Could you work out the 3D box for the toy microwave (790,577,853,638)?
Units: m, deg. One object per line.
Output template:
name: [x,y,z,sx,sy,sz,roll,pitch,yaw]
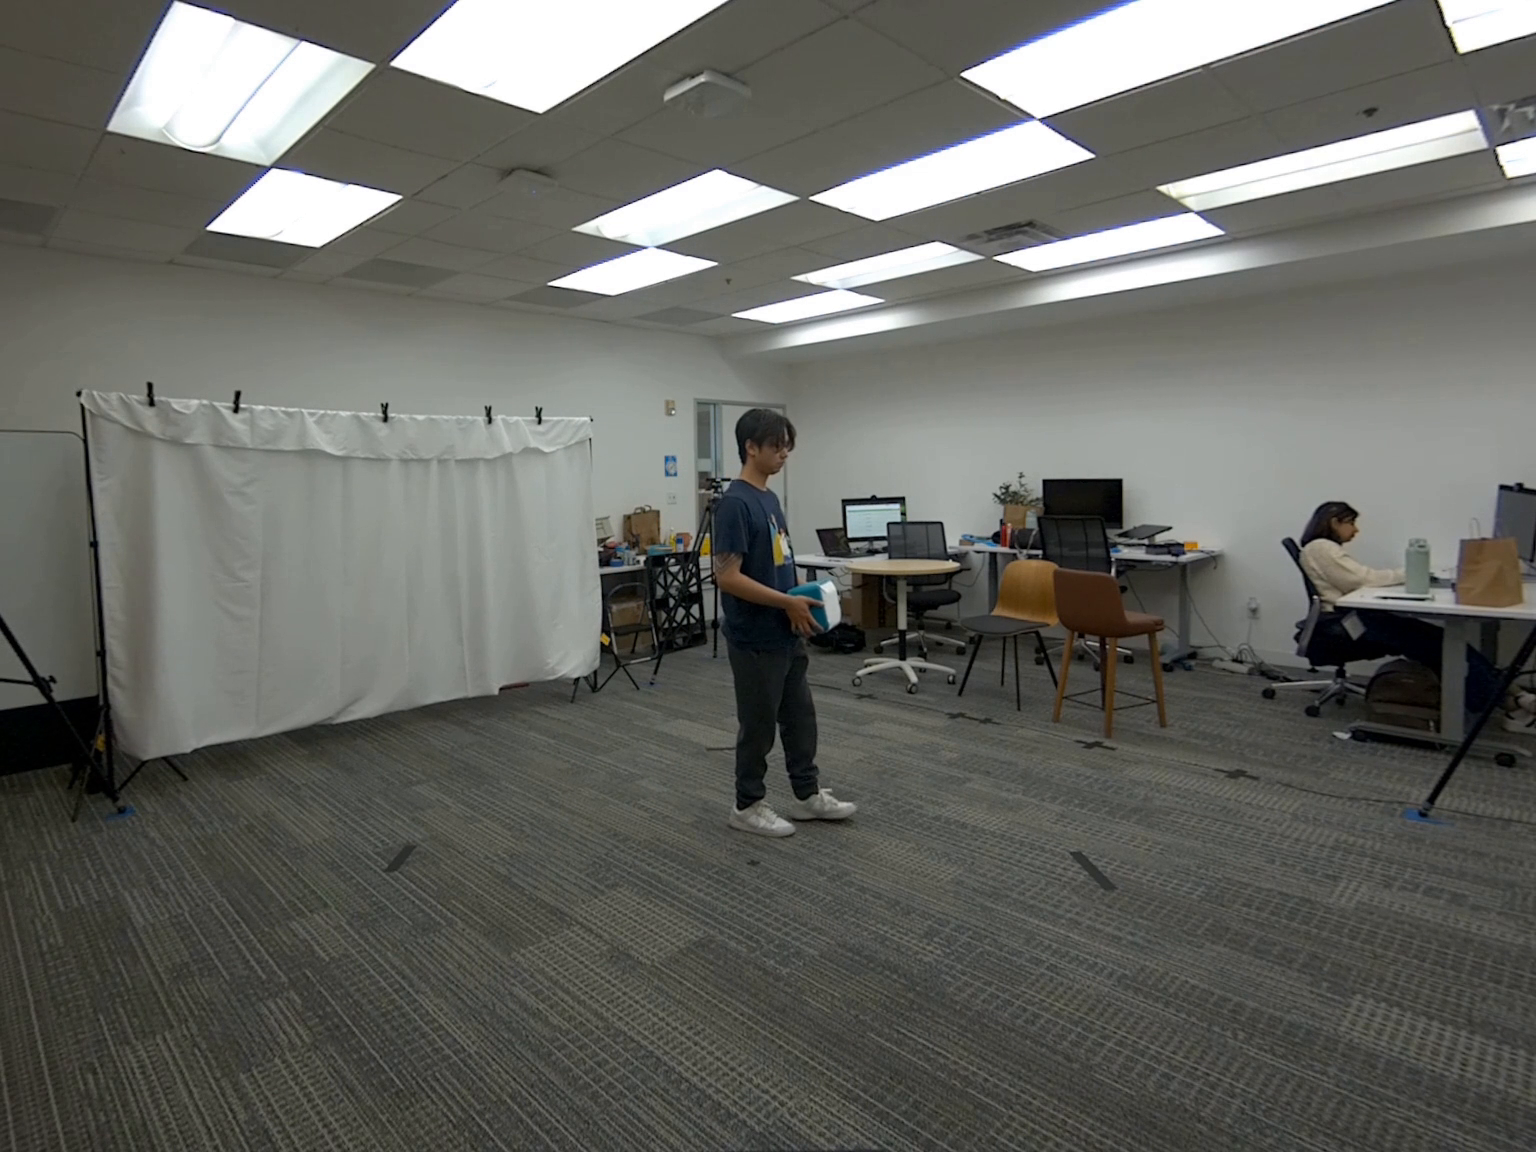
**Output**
toy microwave: [0.198,0.117,3.239,0.154,0.184,0.281,-10,0,18]
